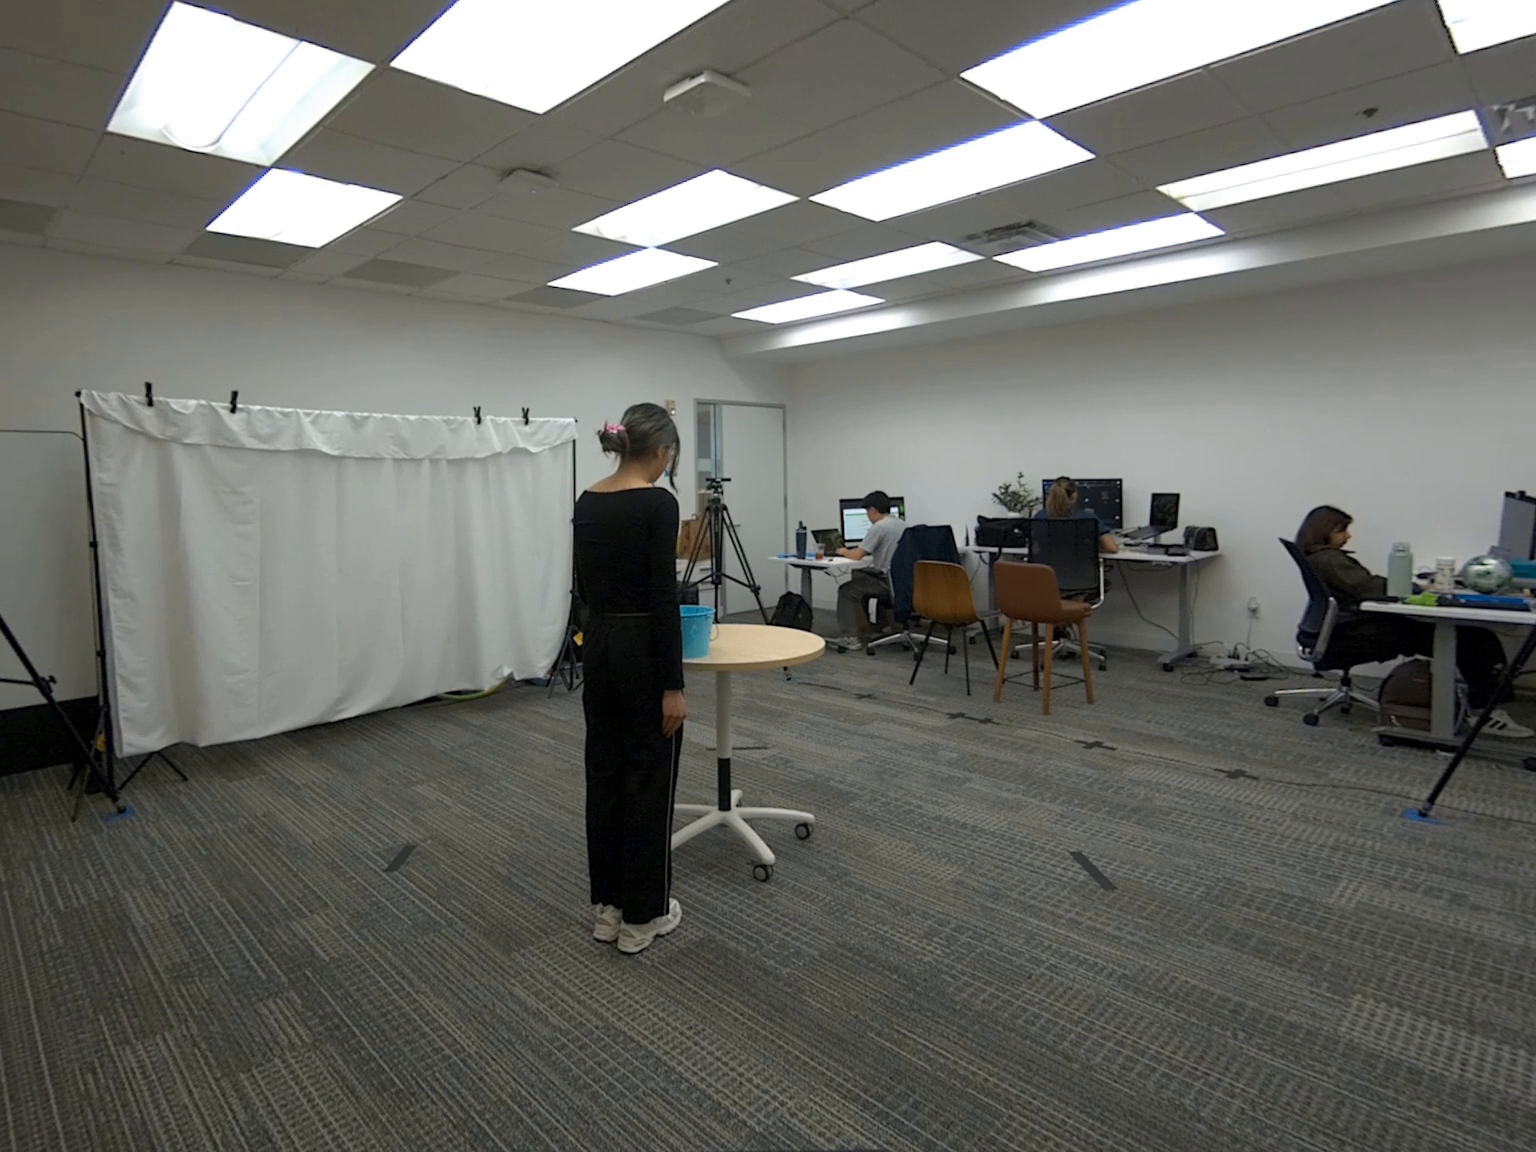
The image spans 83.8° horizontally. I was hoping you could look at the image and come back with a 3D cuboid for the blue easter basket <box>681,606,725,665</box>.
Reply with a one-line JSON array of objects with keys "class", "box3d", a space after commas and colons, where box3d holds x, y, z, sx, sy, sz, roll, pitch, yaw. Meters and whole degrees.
[{"class": "blue easter basket", "box3d": [-0.275, 0.202, 2.982, 0.243, 0.155, 0.245, 0, 7, -2]}]
